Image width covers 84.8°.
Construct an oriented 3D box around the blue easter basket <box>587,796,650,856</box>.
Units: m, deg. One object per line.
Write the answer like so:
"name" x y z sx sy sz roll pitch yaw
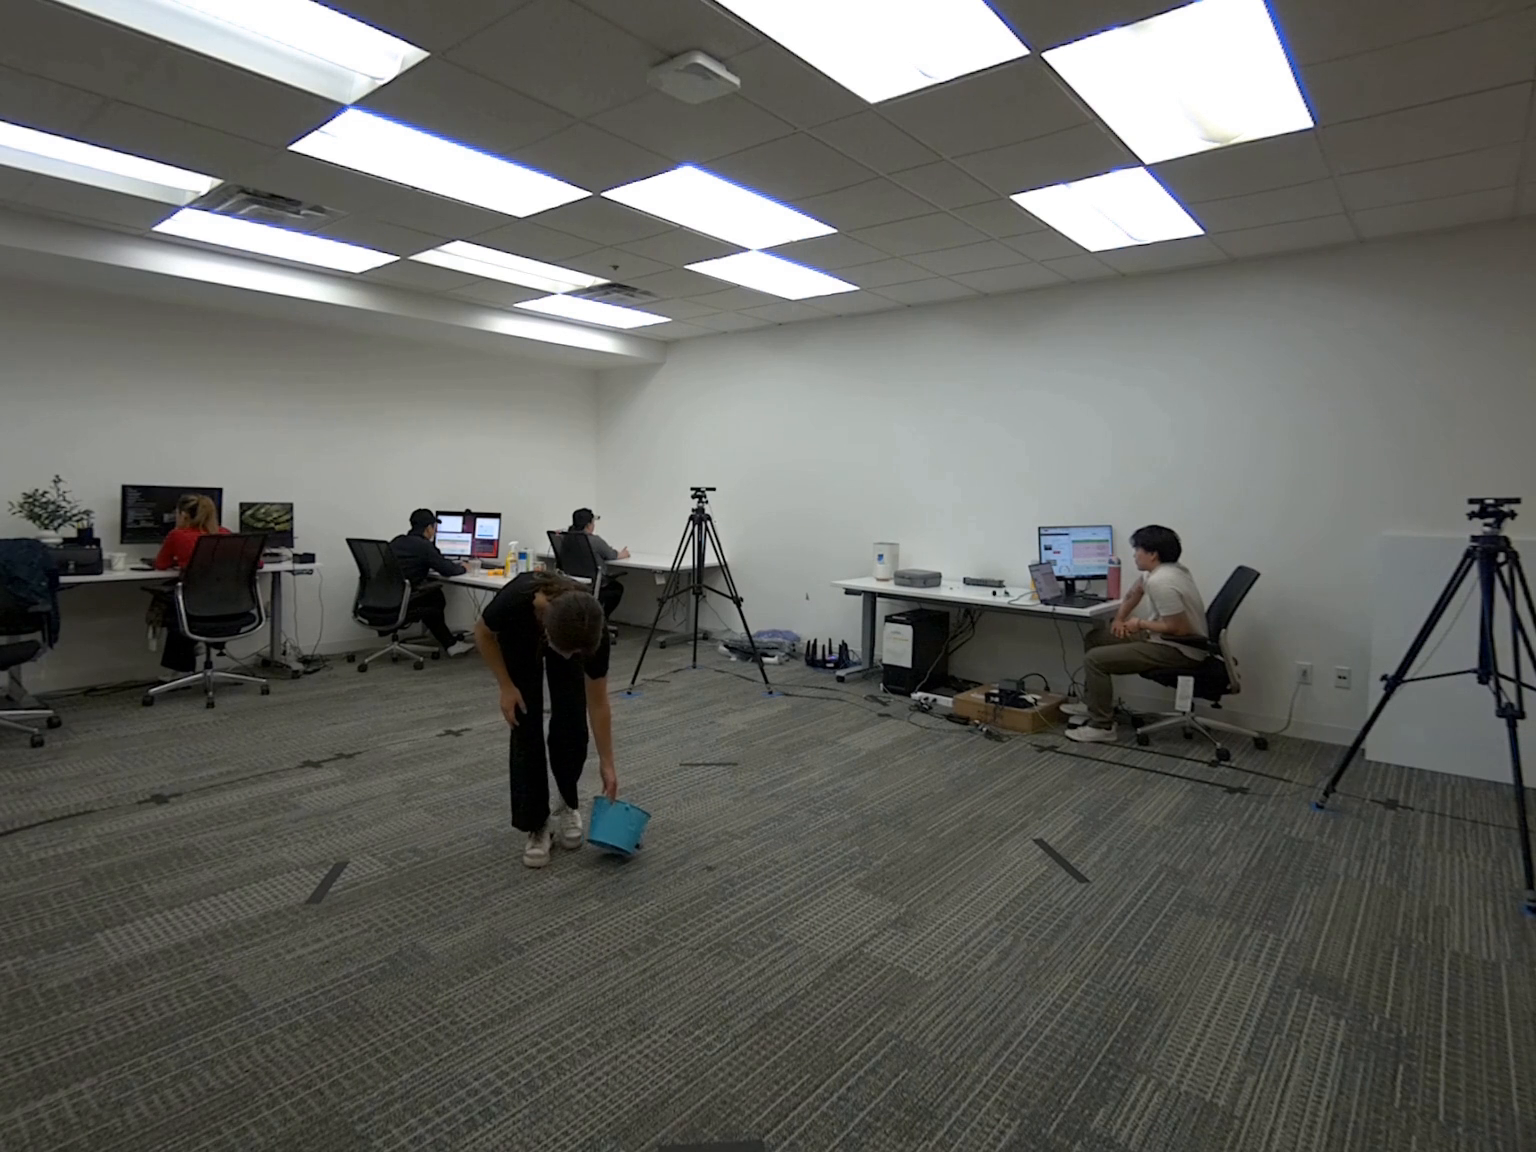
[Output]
"blue easter basket" -0.579 0.945 3.188 0.246 0.158 0.238 14 -27 6
